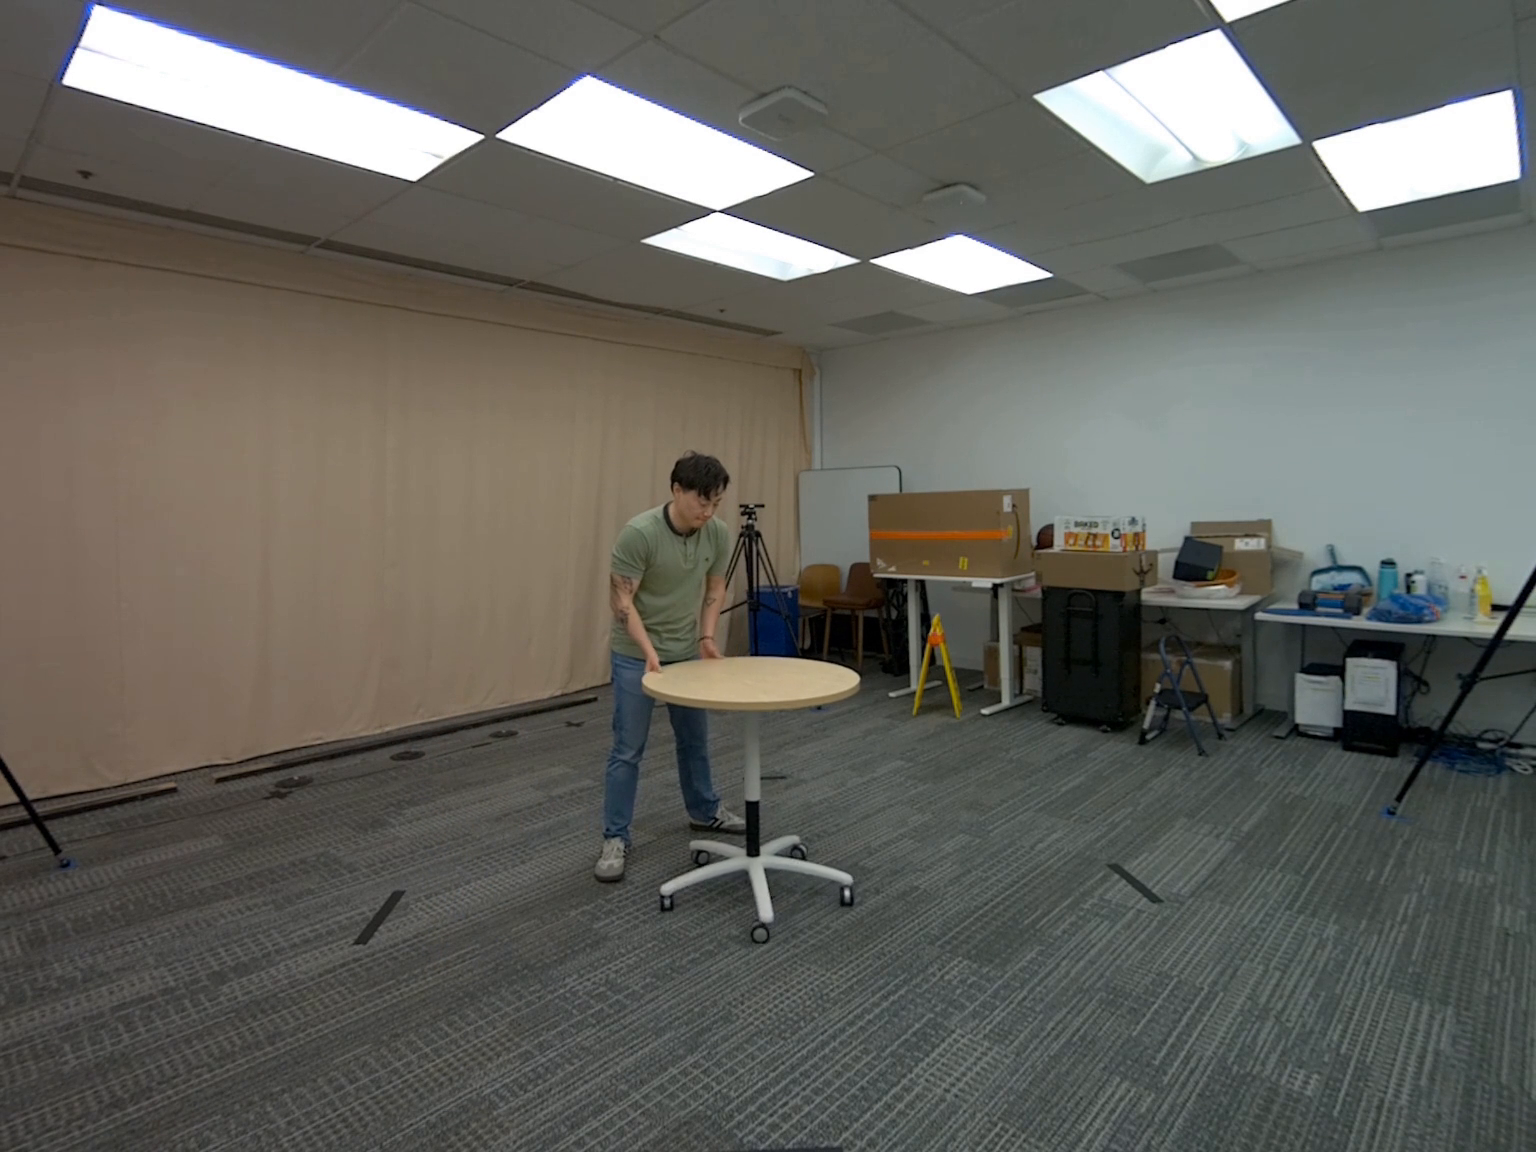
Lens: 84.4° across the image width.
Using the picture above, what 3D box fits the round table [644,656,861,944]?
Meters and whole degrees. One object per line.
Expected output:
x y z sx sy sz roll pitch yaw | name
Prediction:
-0.047 0.749 2.996 0.763 0.792 0.766 -1 4 -2 | round table
